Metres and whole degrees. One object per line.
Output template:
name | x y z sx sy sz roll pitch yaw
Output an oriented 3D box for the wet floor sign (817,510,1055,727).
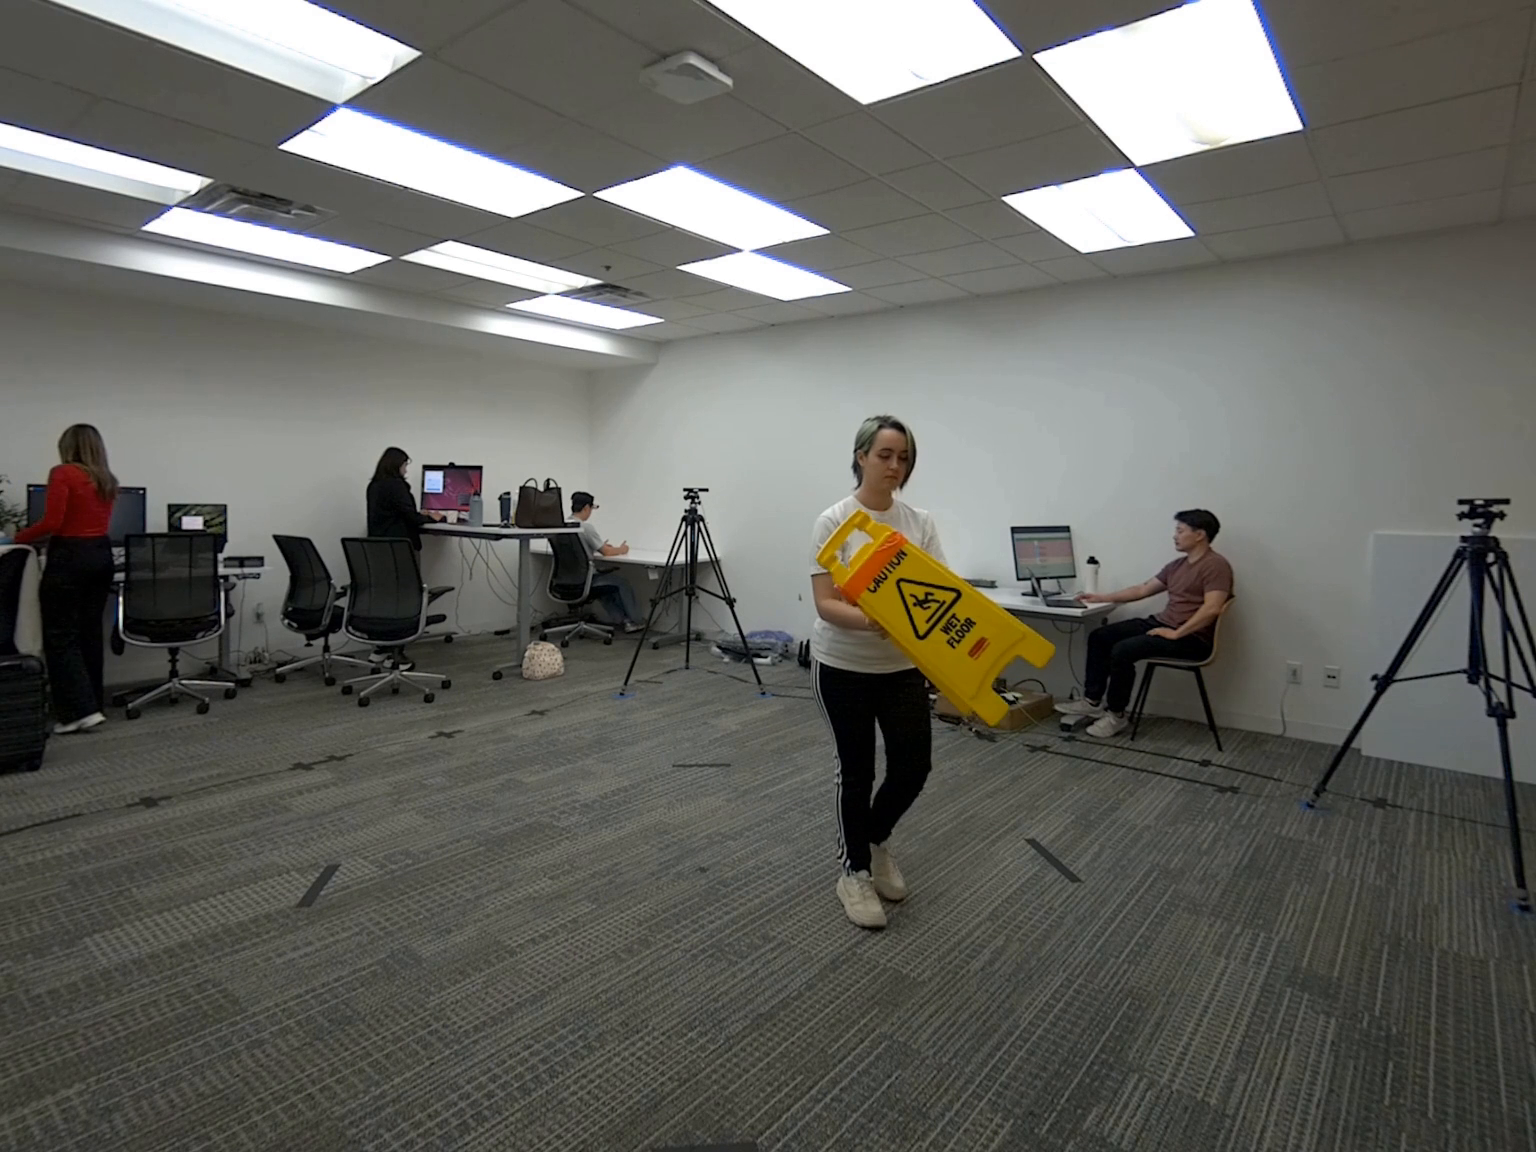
wet floor sign | 0.436 0.090 2.411 0.647 0.282 0.289 42 -6 0
